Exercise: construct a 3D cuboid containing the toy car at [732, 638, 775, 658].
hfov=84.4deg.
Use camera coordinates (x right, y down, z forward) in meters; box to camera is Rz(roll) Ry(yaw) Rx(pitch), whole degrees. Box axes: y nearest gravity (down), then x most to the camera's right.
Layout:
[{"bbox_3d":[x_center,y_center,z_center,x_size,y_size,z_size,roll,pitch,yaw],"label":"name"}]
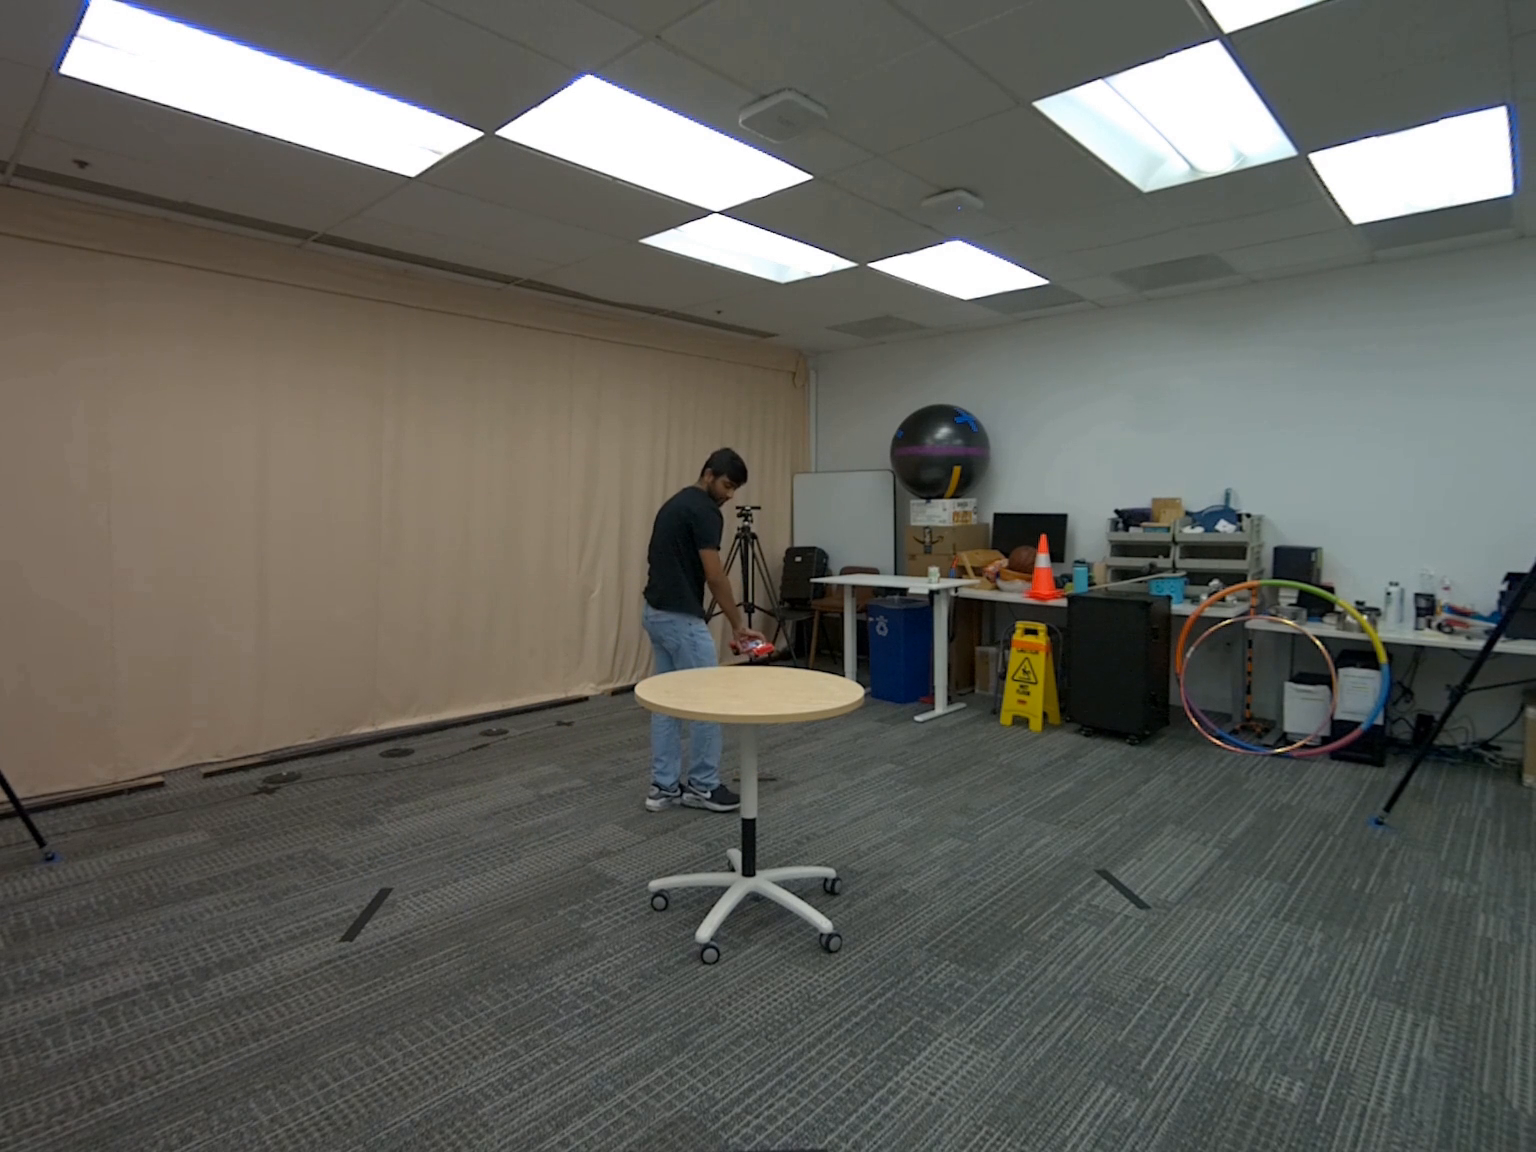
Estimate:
[{"bbox_3d":[-0.082,0.339,3.914,0.127,0.082,0.263,-13,18,-34],"label":"toy car"}]
